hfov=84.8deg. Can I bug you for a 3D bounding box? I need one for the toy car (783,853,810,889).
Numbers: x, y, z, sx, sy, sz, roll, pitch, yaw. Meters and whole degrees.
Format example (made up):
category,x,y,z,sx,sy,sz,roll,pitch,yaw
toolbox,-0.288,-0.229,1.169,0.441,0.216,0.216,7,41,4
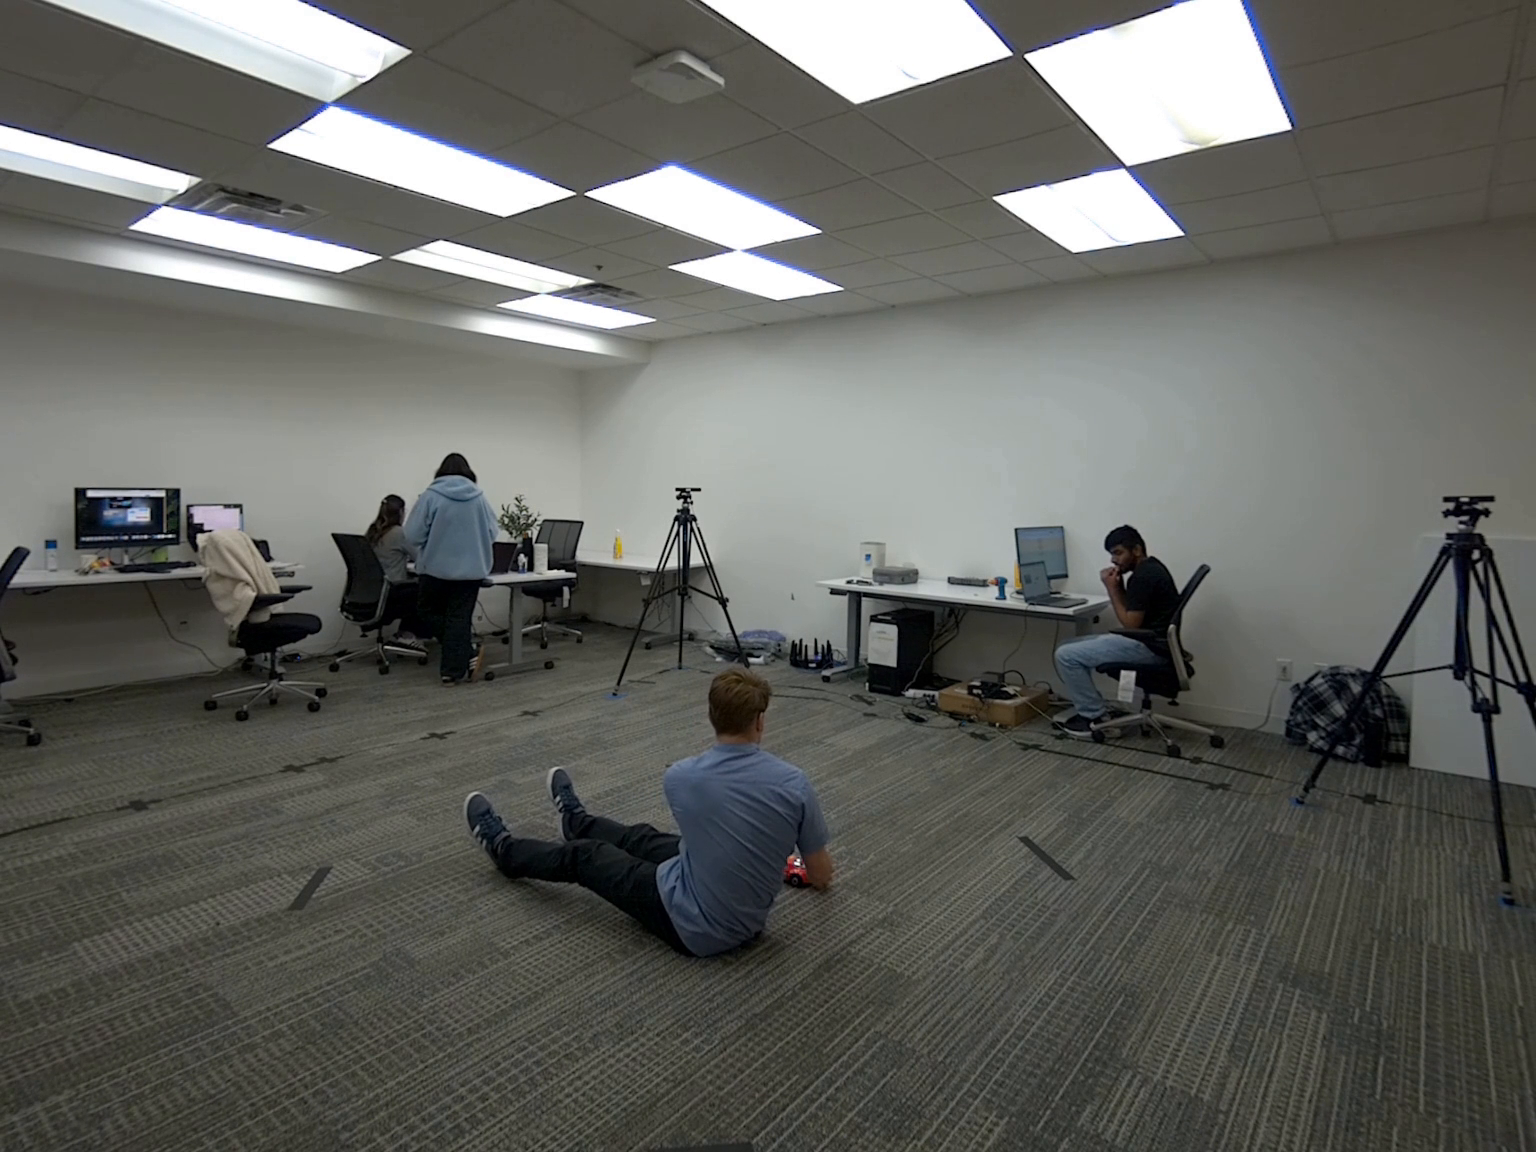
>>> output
category,x,y,z,sx,sy,sz,roll,pitch,yaw
toy car,0.060,1.047,3.043,0.259,0.083,0.128,-7,0,19
